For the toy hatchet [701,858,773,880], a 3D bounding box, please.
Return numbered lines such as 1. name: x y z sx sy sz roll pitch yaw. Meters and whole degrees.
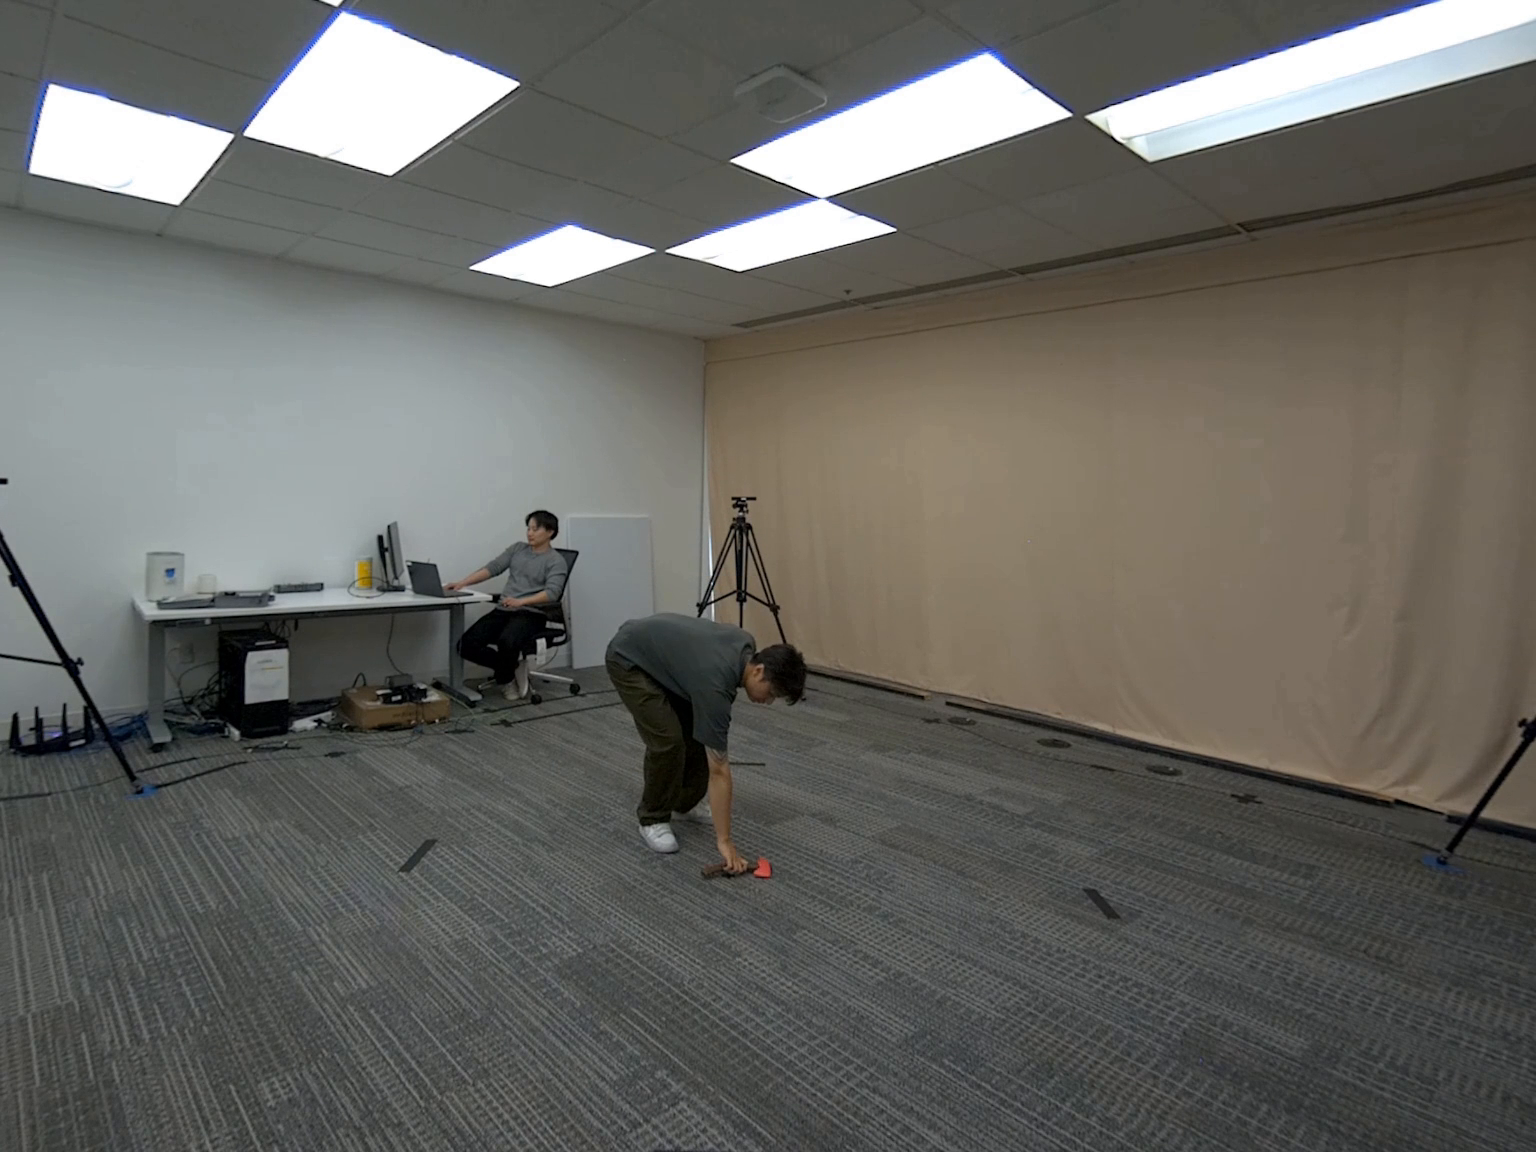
1. toy hatchet: -0.108 1.082 3.107 0.265 0.029 0.134 -3 12 -31
